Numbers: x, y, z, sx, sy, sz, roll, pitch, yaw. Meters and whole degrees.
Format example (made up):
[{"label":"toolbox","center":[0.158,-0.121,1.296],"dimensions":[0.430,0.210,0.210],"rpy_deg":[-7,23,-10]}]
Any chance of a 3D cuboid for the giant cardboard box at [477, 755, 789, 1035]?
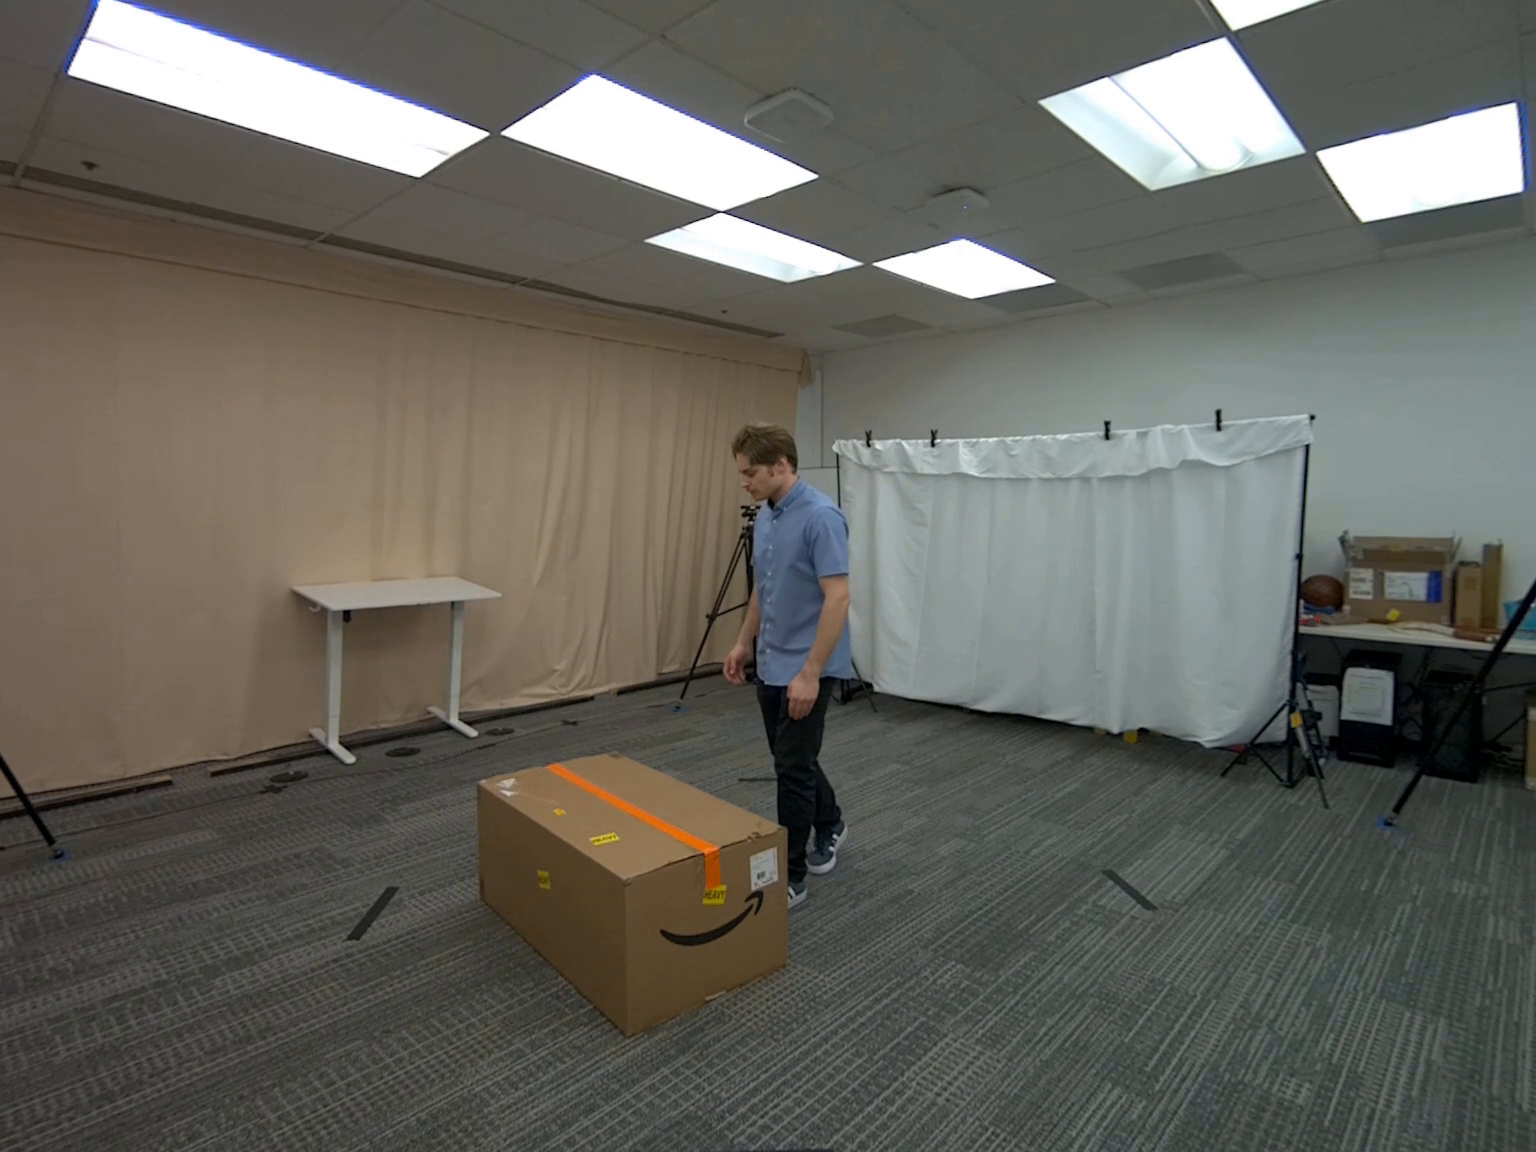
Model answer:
[{"label":"giant cardboard box","center":[-0.487,0.953,2.767],"dimensions":[0.566,0.446,1.060],"rpy_deg":[-2,4,-39]}]
